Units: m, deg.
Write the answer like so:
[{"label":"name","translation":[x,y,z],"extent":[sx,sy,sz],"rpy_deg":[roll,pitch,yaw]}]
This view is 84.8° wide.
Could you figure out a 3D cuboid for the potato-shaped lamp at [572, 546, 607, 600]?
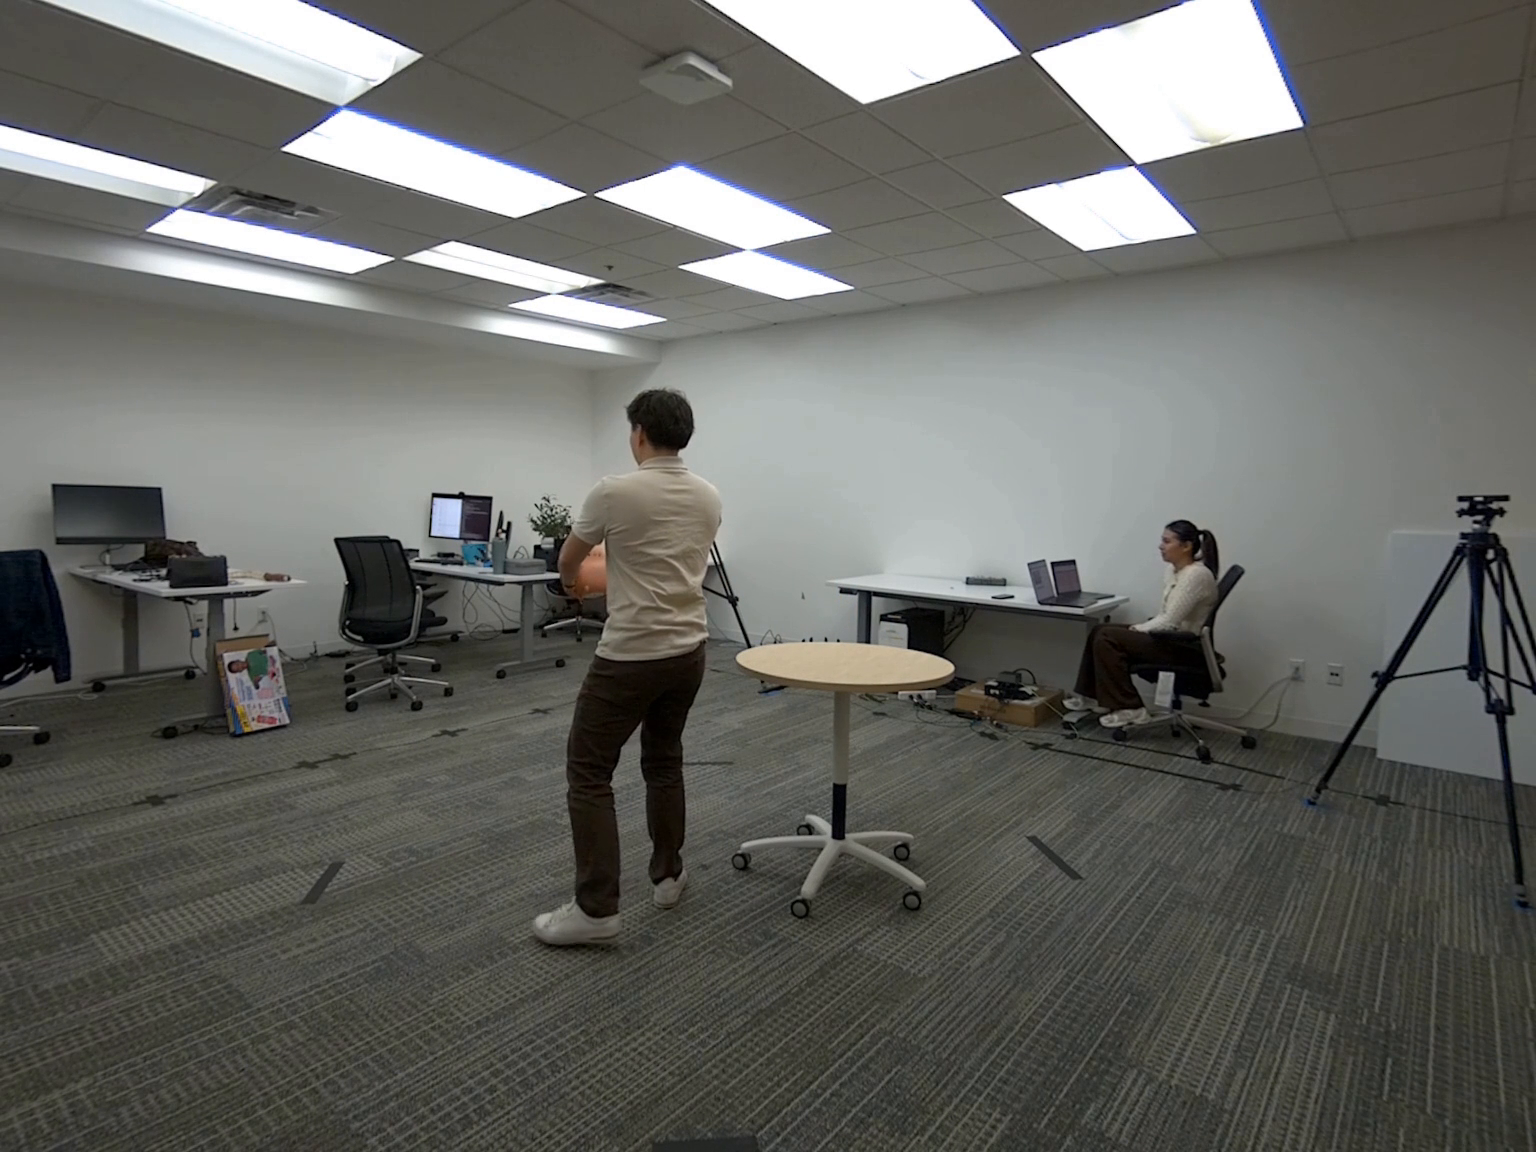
[{"label":"potato-shaped lamp","translation":[-0.662,-0.021,3.095],"extent":[0.160,0.200,0.174],"rpy_deg":[0,-11,-32]}]
